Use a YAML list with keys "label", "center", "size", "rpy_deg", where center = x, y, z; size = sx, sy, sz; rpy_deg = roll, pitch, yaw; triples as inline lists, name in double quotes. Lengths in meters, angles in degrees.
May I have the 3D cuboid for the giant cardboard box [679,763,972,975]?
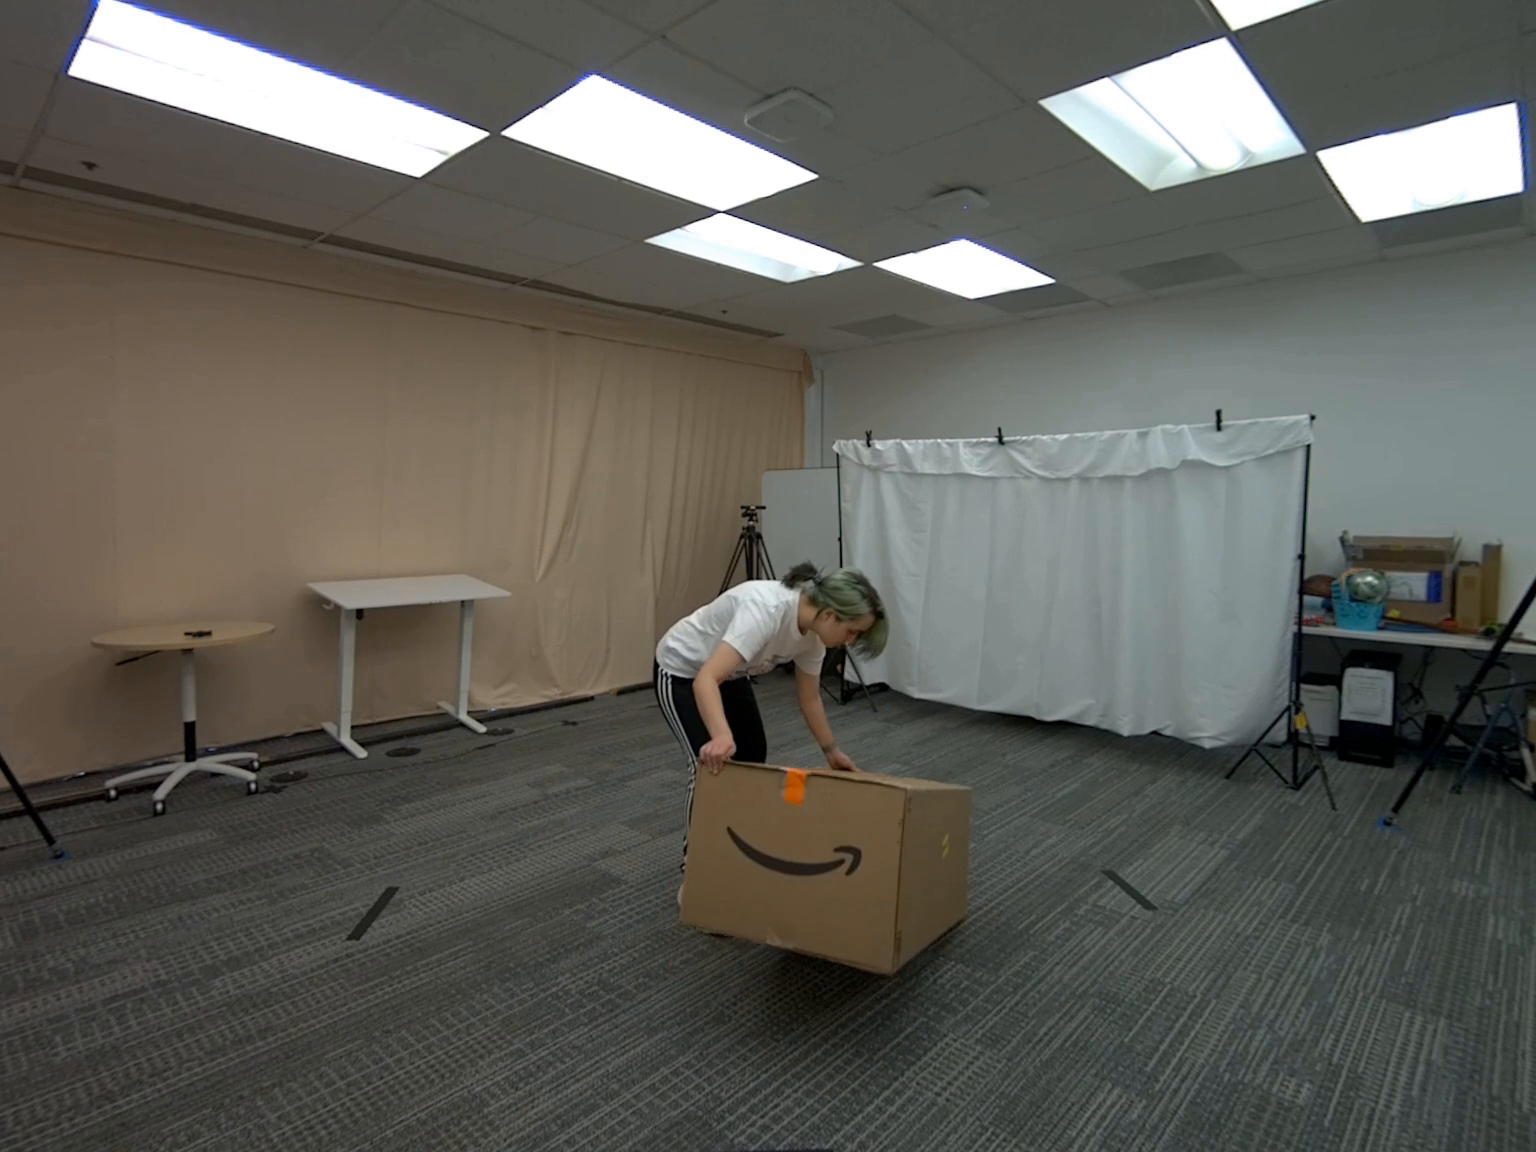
- label: "giant cardboard box"
  center: [0.246, 0.827, 2.574]
  size: [0.592, 0.428, 0.995]
  rpy_deg: [2, -12, 23]
